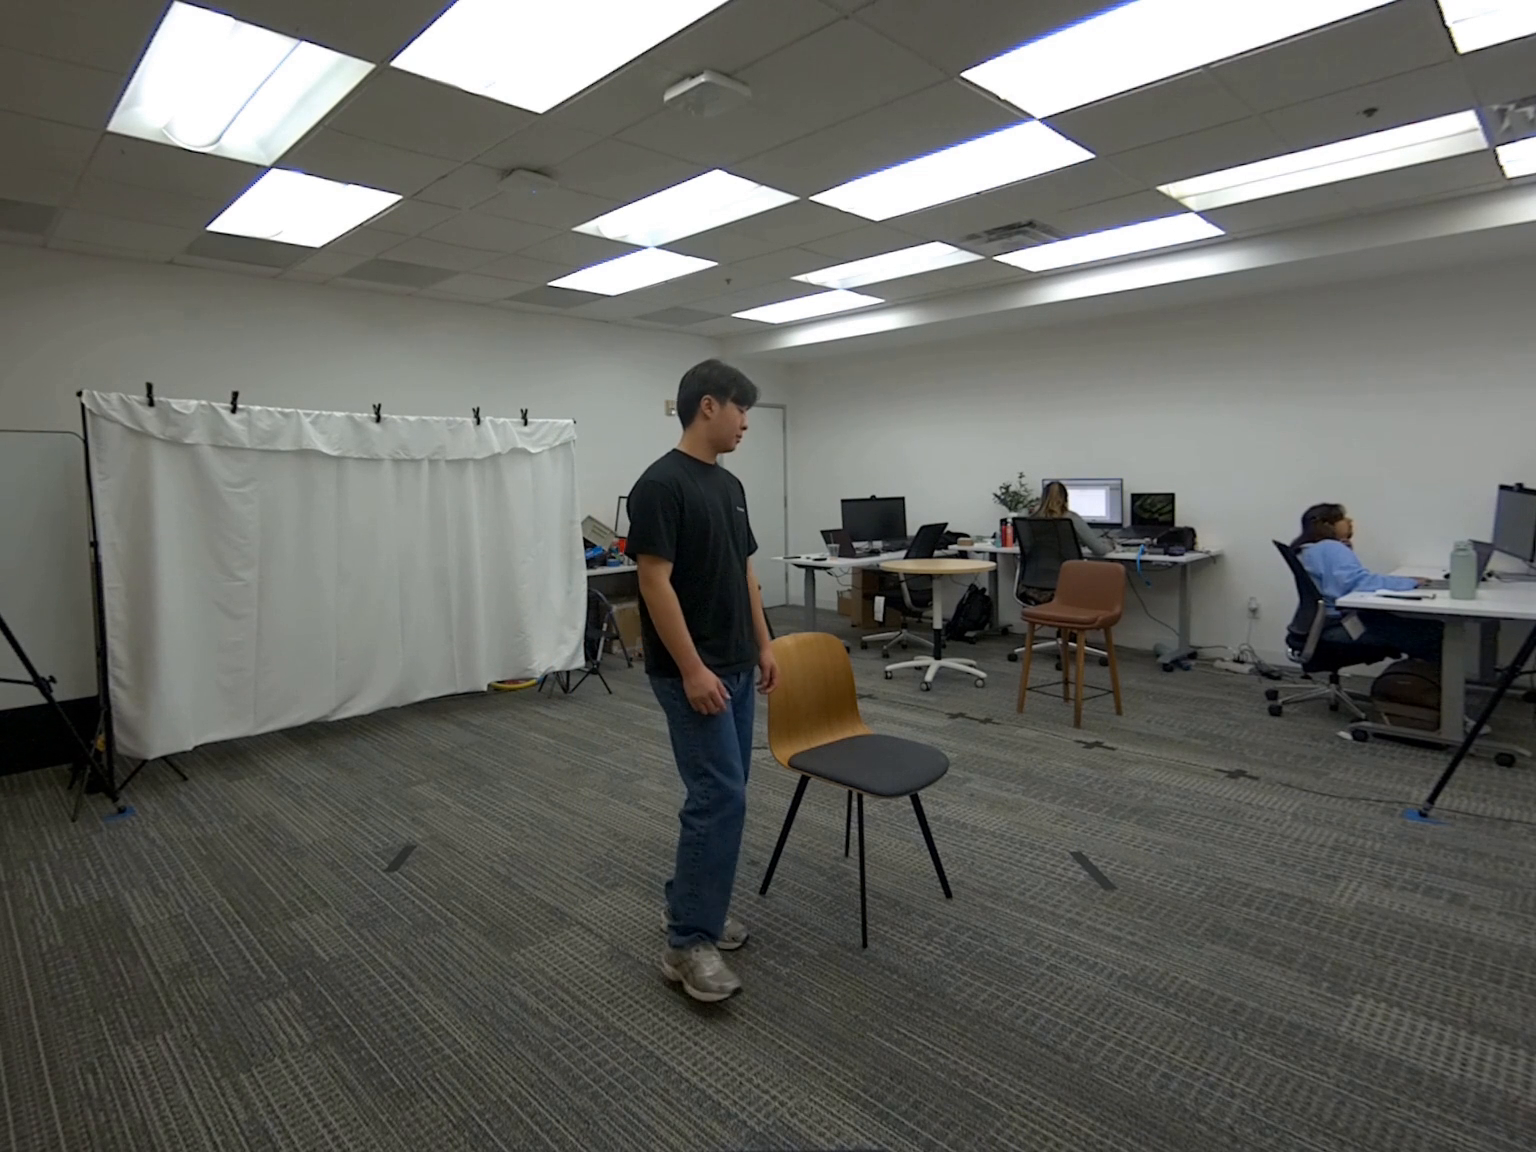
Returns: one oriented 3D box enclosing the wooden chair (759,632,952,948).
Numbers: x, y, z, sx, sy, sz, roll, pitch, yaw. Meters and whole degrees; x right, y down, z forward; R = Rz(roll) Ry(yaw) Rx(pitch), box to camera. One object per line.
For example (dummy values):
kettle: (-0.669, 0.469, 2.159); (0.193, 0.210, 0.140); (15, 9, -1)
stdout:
wooden chair: (0.292, 0.643, 2.808); (0.465, 0.877, 0.538); (-5, 2, -43)
